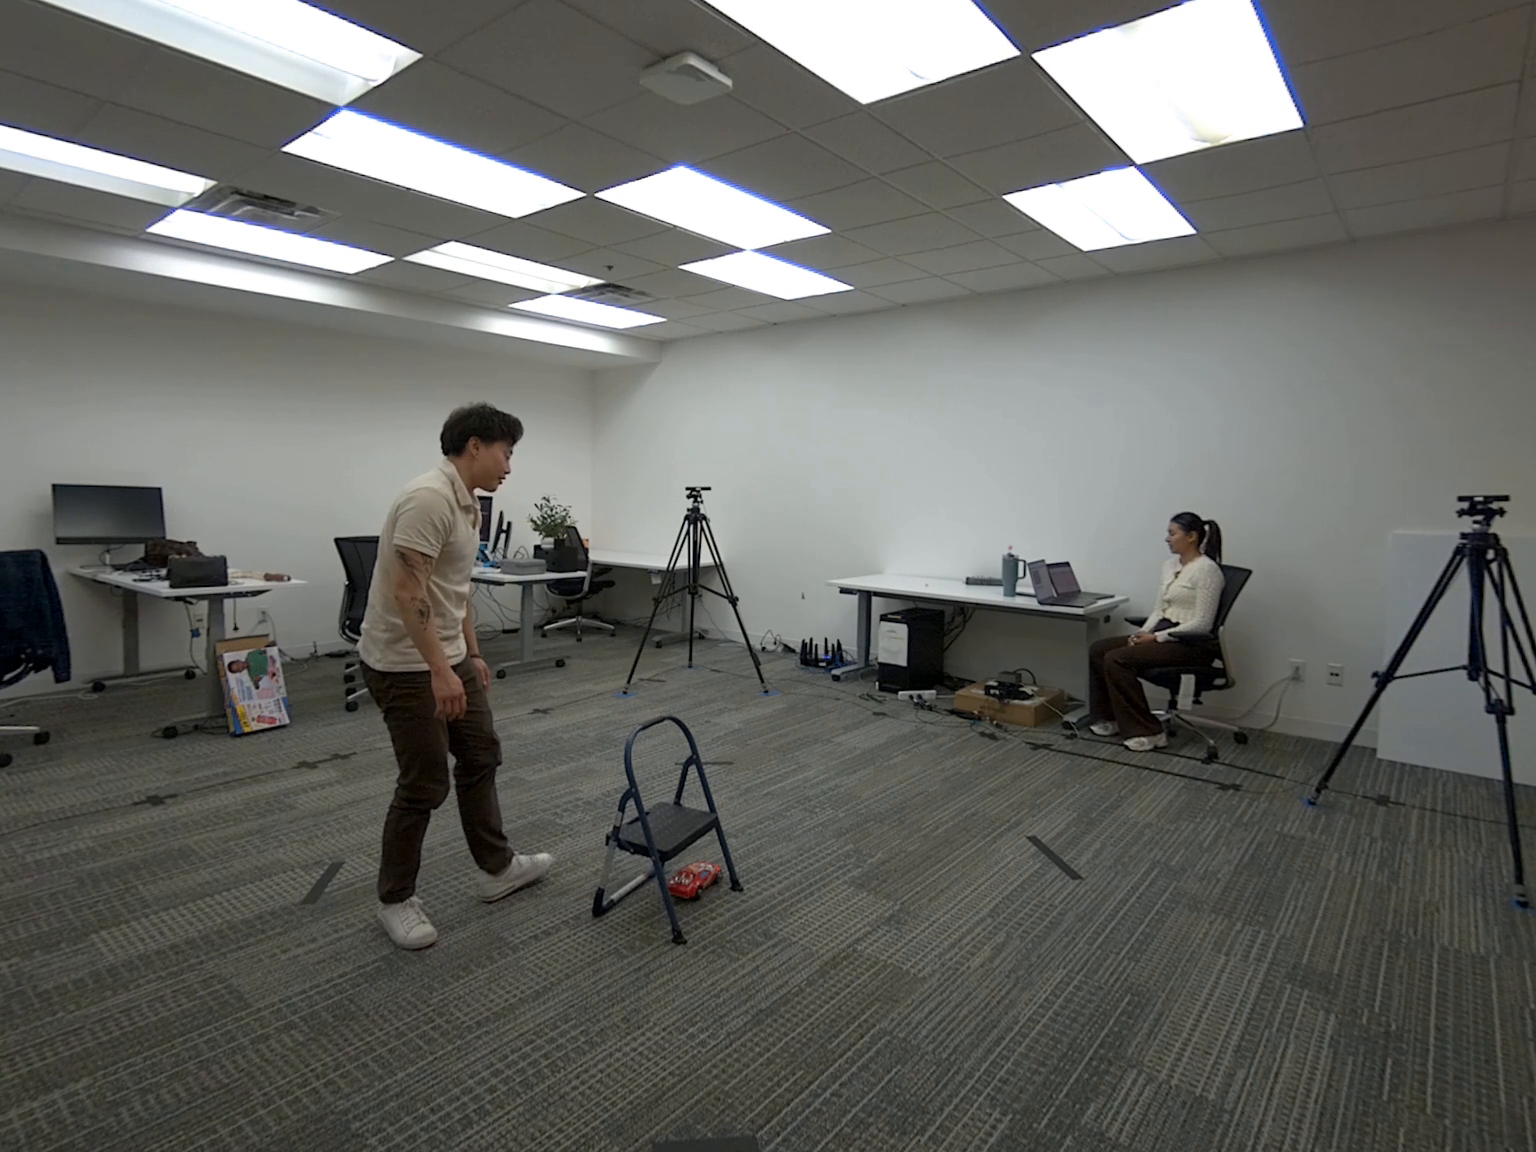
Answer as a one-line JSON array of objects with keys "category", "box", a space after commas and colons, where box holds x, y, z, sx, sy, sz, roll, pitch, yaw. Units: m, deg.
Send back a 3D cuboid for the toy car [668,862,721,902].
[{"category": "toy car", "box": [-0.270, 1.052, 2.934, 0.134, 0.083, 0.246, 4, -5, 26]}]
